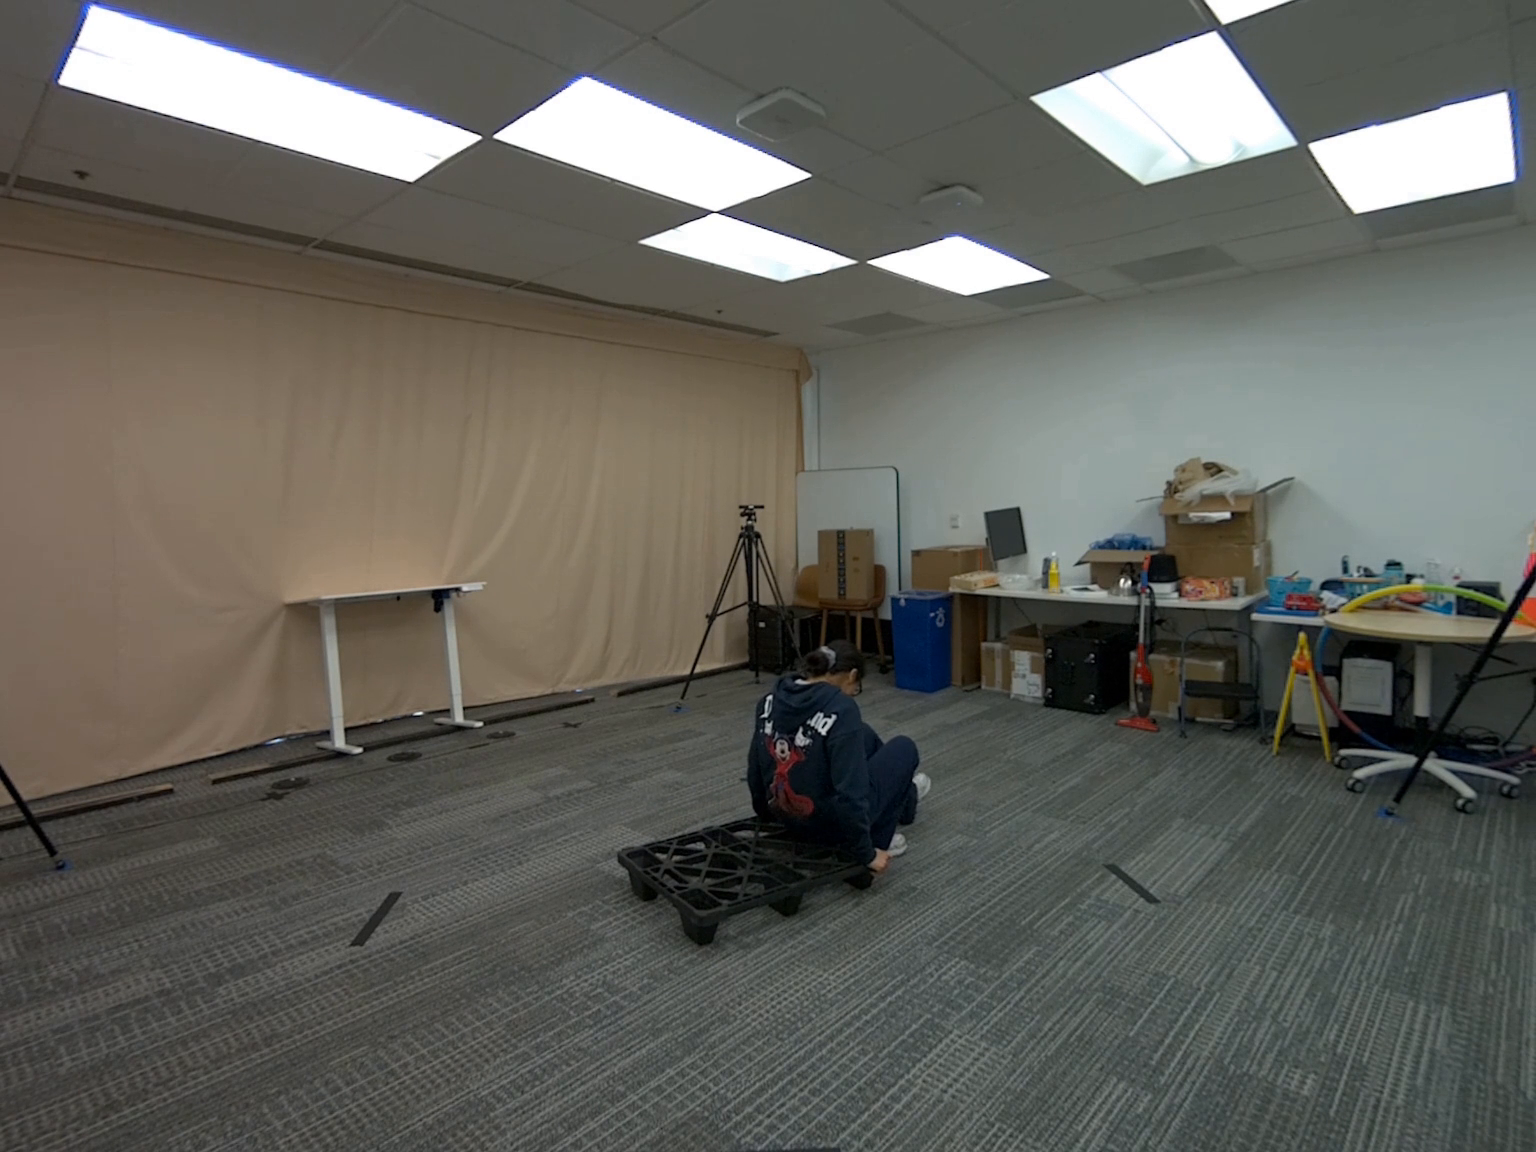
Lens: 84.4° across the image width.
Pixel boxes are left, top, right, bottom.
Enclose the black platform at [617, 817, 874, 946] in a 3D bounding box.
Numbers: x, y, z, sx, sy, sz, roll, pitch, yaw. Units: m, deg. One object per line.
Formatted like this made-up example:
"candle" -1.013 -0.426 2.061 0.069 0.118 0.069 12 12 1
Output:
"black platform" -0.063 1.073 3.046 0.783 0.143 0.623 -3 5 -33
